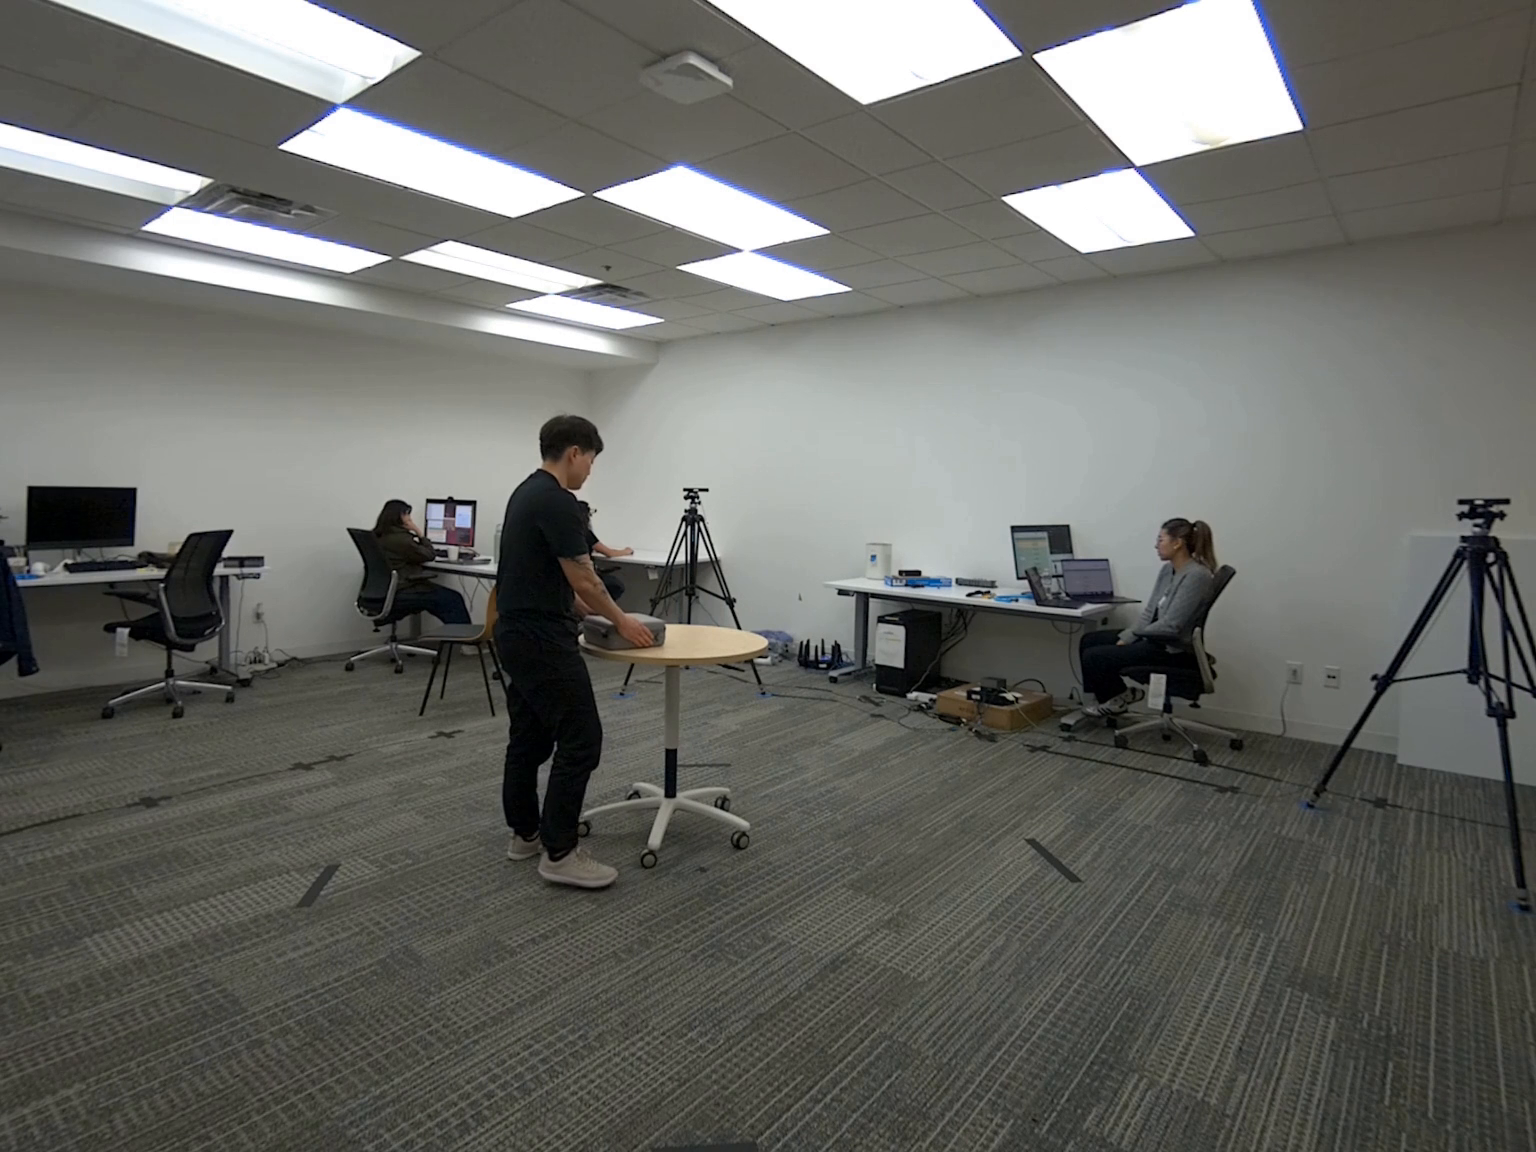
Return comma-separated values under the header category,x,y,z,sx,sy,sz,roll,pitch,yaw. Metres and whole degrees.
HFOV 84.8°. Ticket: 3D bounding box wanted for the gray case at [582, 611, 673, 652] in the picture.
category,x,y,z,sx,sy,sz,roll,pitch,yaw
gray case,-0.555,0.212,3.295,0.253,0.104,0.265,-3,5,-35
